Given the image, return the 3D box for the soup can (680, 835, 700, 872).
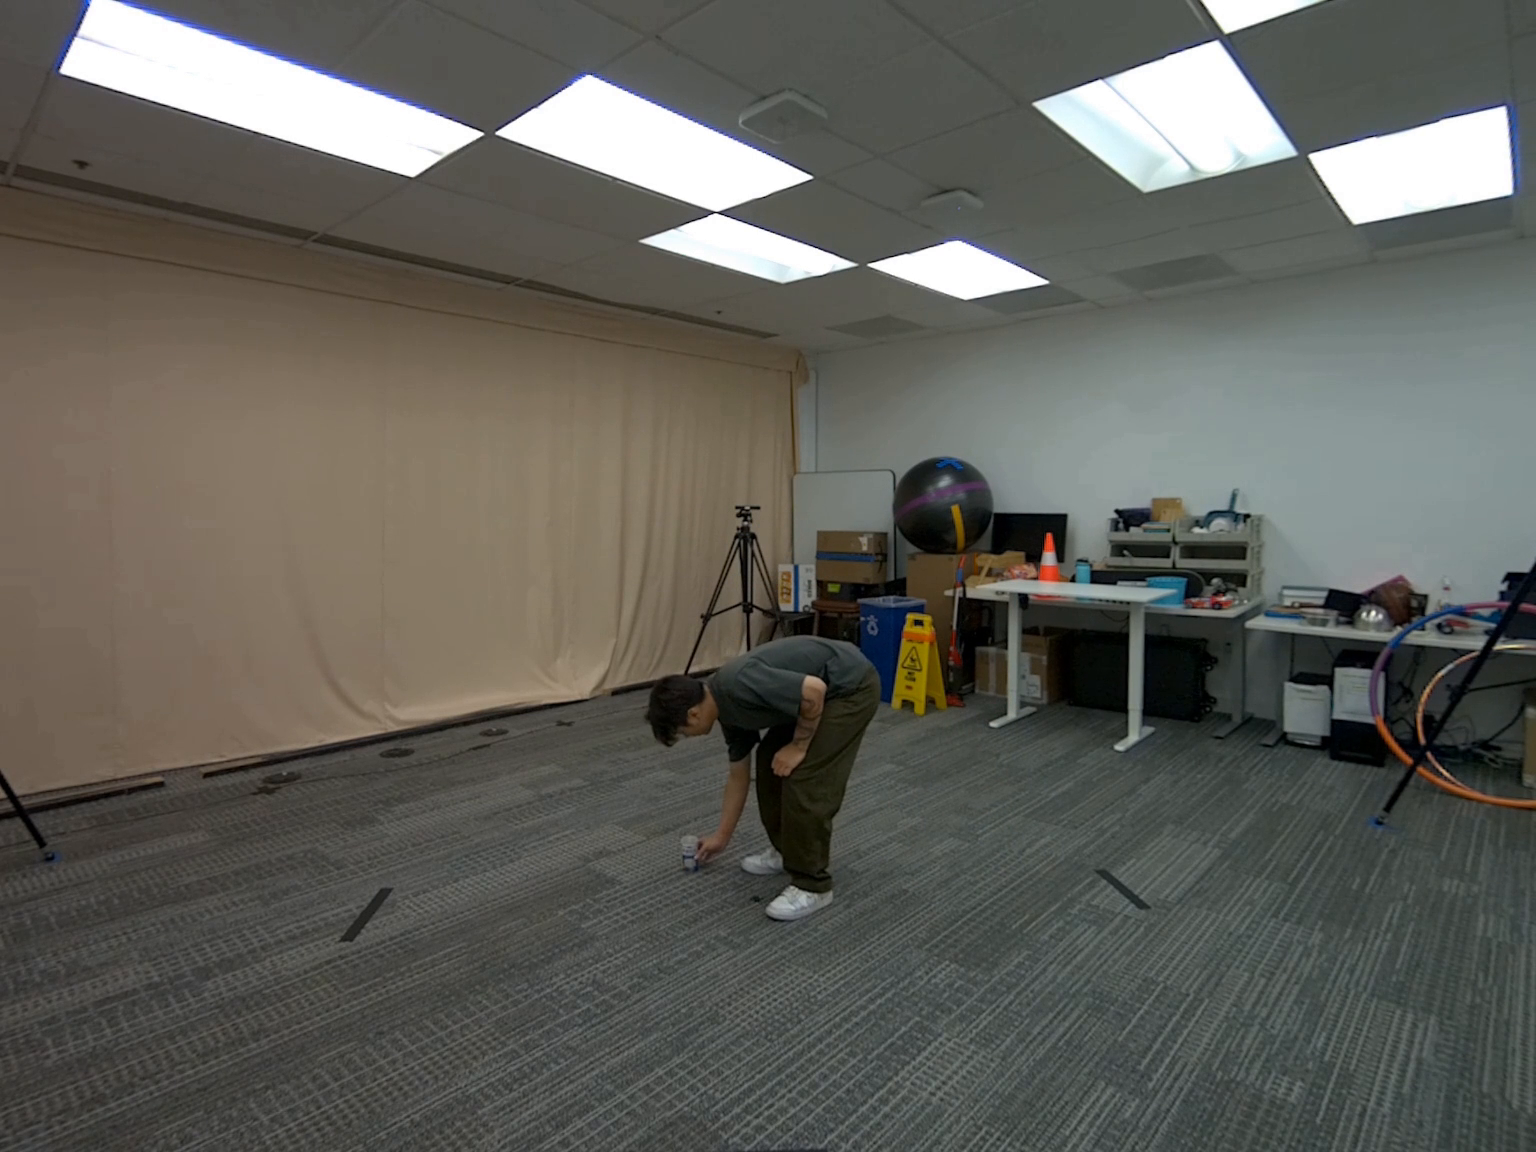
[{"bbox_3d":[-0.298,1.072,3.227,0.067,0.121,0.067,-1,9,-2],"label":"soup can"}]
